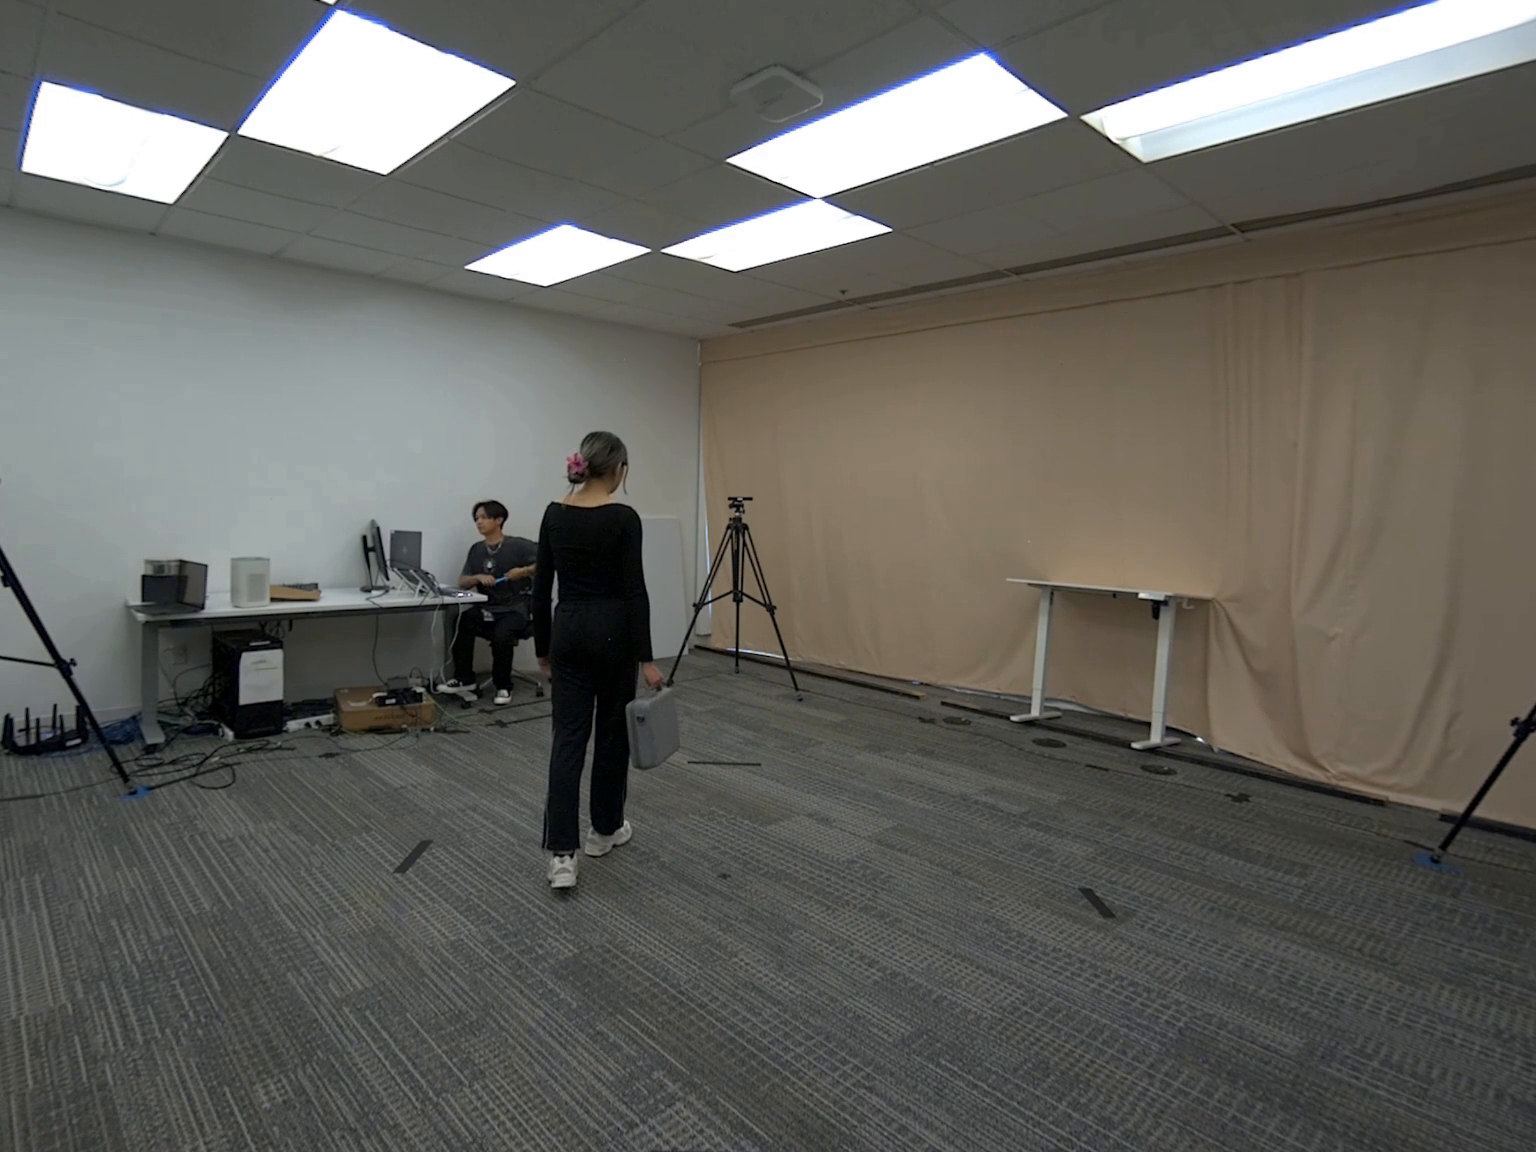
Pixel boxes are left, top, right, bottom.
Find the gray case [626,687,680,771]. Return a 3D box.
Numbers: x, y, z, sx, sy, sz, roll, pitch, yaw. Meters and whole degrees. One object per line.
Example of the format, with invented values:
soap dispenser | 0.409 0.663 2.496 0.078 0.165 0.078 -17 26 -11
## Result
gray case | -0.441 0.566 3.161 0.105 0.260 0.255 -3 5 13
